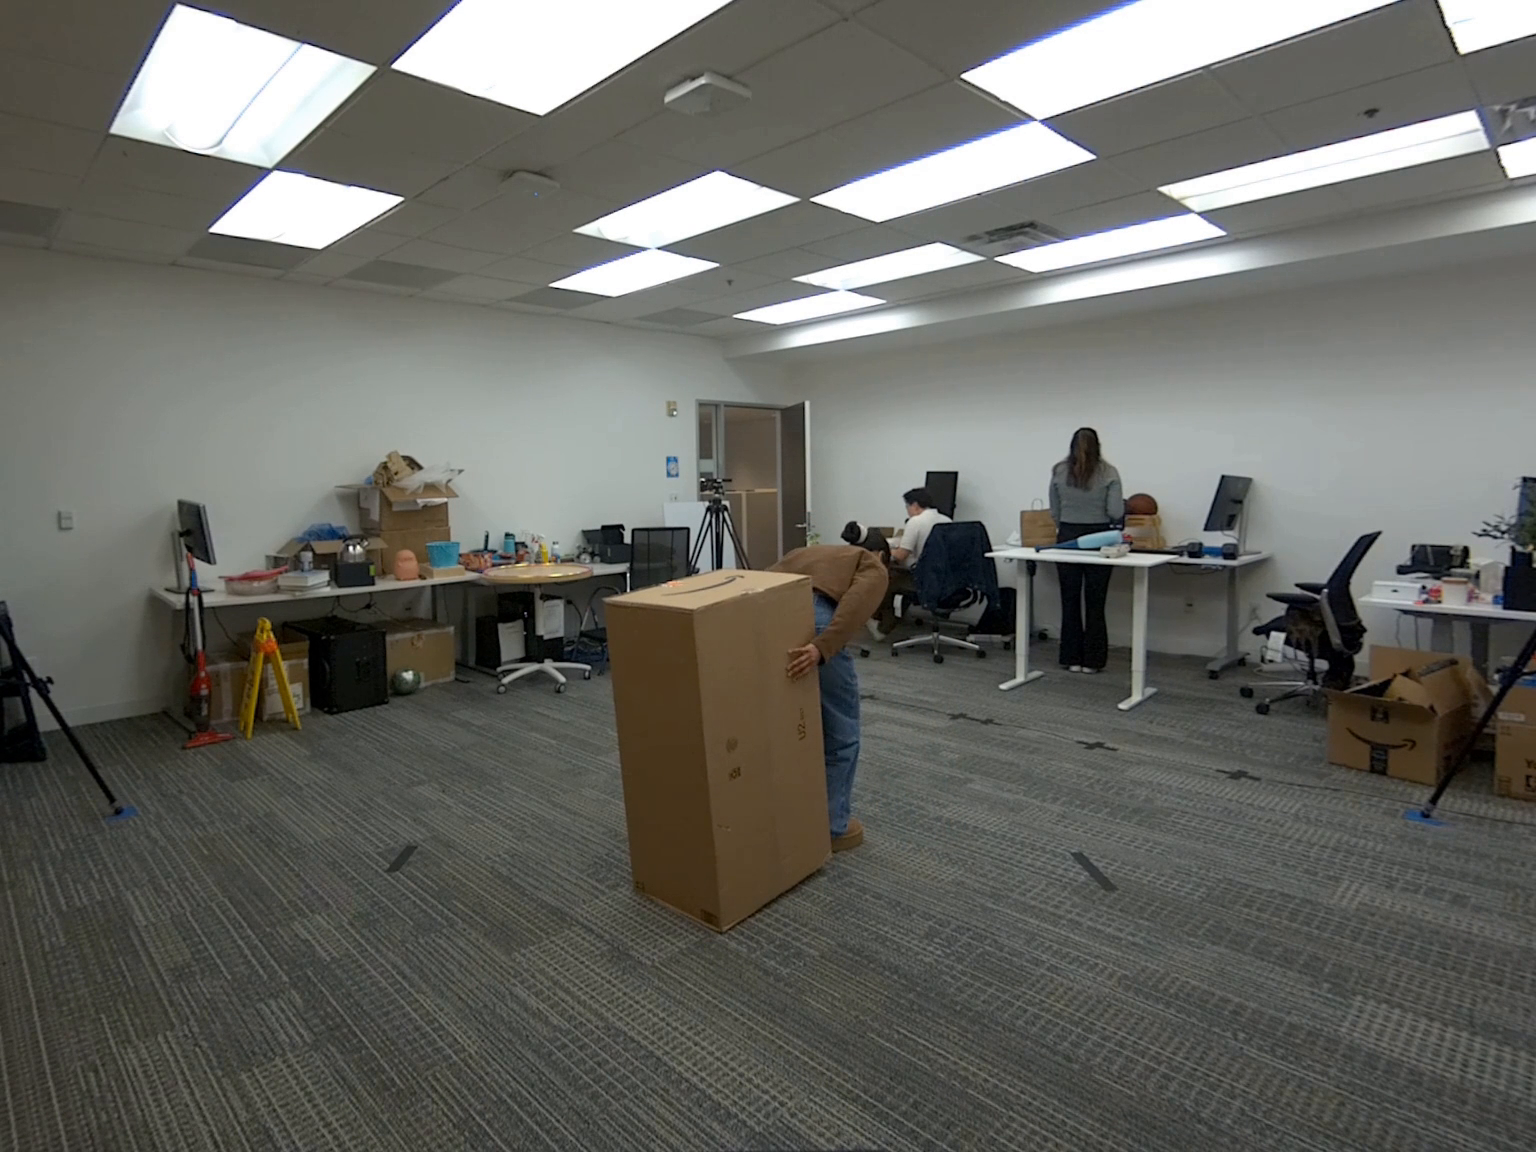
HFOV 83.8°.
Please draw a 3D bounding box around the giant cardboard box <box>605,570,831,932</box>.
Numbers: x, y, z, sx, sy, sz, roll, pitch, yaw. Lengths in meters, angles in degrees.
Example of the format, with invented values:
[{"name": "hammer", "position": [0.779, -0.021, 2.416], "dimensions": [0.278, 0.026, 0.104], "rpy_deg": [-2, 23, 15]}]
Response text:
[{"name": "giant cardboard box", "position": [-0.156, 0.542, 2.911], "dimensions": [0.460, 1.020, 0.571], "rpy_deg": [3, 10, 41]}]
